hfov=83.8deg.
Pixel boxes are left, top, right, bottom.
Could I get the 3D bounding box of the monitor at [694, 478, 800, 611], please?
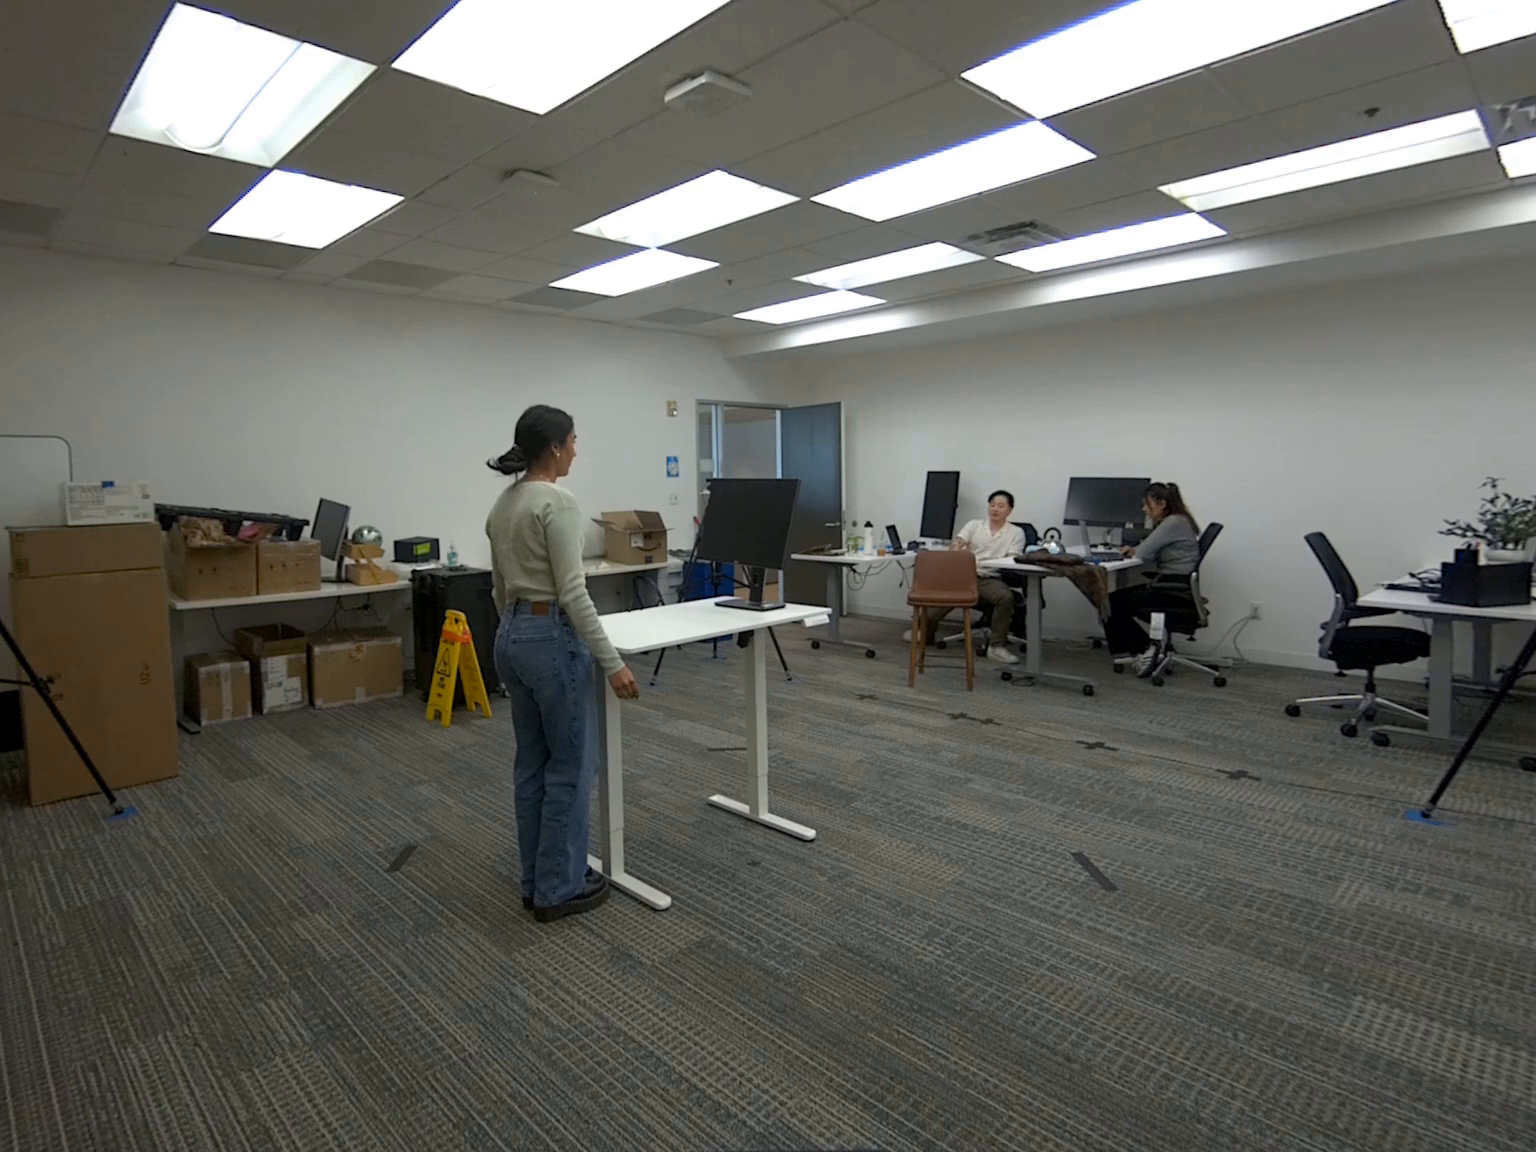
[{"bbox_3d":[-0.068,-0.130,3.448,0.182,0.521,0.556,-2,5,-42],"label":"monitor"}]
